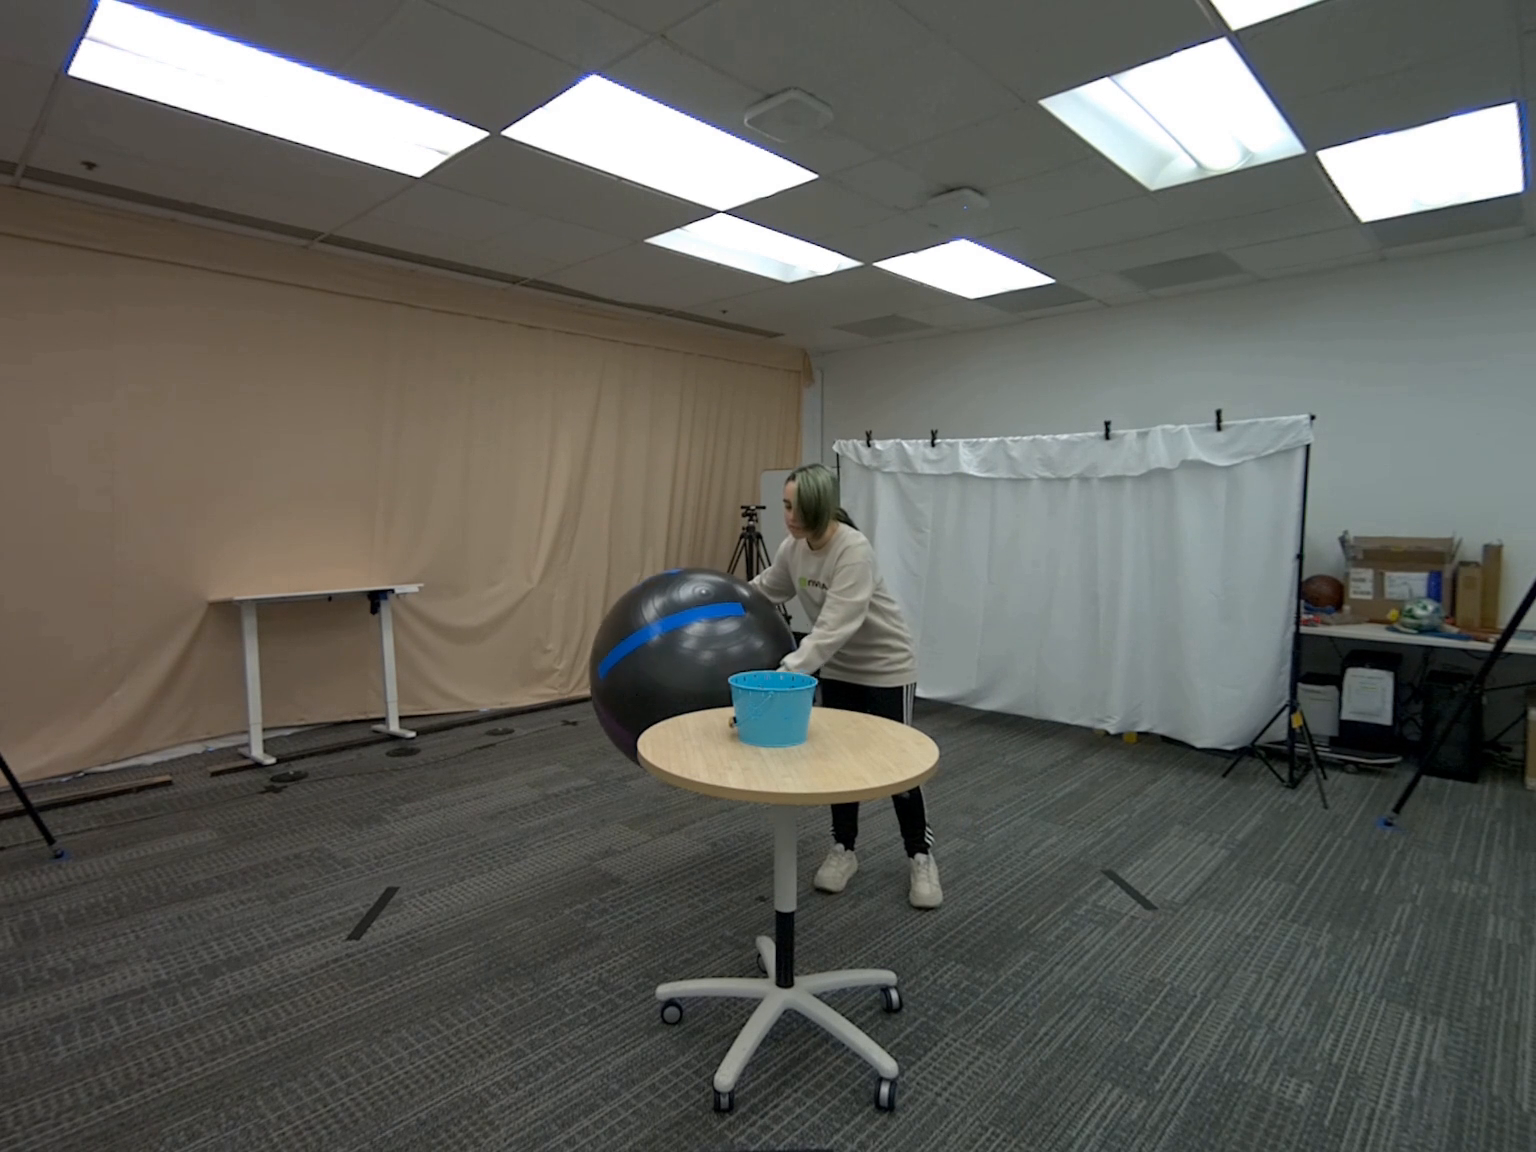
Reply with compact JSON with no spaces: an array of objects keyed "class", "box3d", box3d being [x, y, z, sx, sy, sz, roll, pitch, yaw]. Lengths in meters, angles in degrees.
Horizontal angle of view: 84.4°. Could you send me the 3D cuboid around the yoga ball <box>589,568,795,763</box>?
[{"class":"yoga ball","box3d":[-0.261,0.357,3.038,0.757,0.756,0.760,0,4,-2]}]
